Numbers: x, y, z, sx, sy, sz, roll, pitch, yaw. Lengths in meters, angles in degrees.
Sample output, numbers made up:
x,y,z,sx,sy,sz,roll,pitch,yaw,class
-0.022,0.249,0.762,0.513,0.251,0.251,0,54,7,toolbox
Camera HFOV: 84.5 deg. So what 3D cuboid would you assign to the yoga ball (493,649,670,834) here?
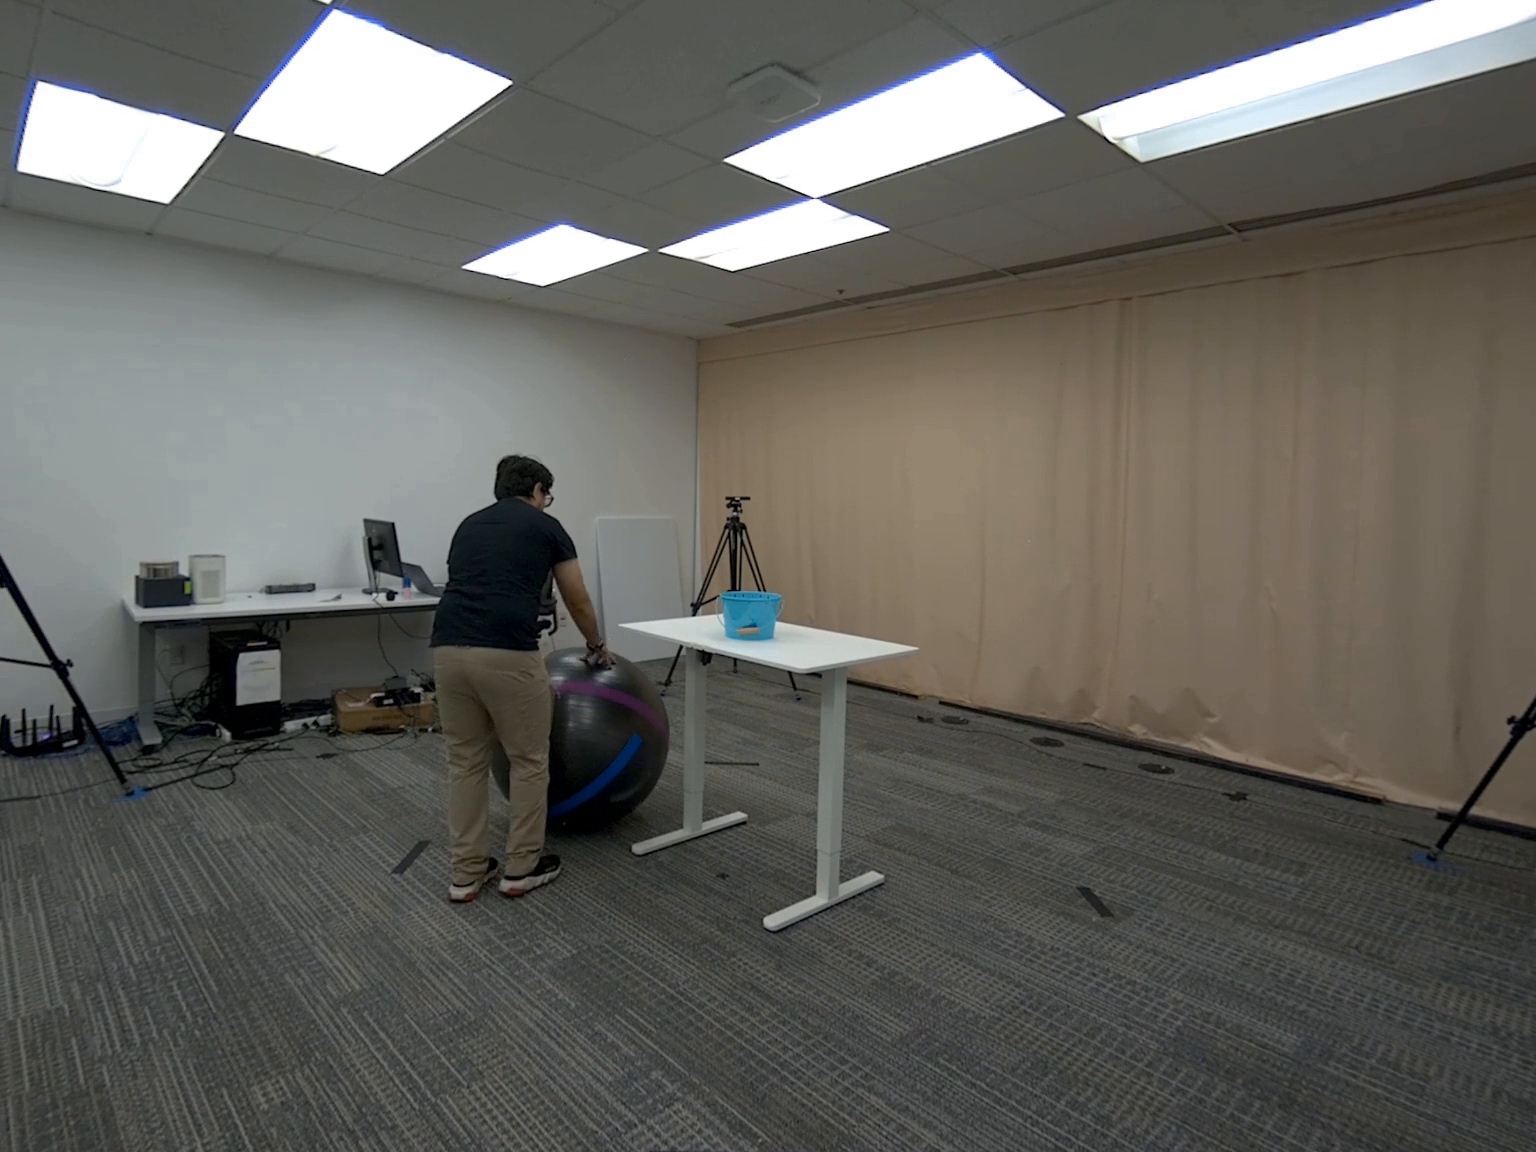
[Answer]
x,y,z,sx,sy,sz,roll,pitch,yaw,class
-0.808,0.687,3.567,0.757,0.756,0.761,1,4,-1,yoga ball
